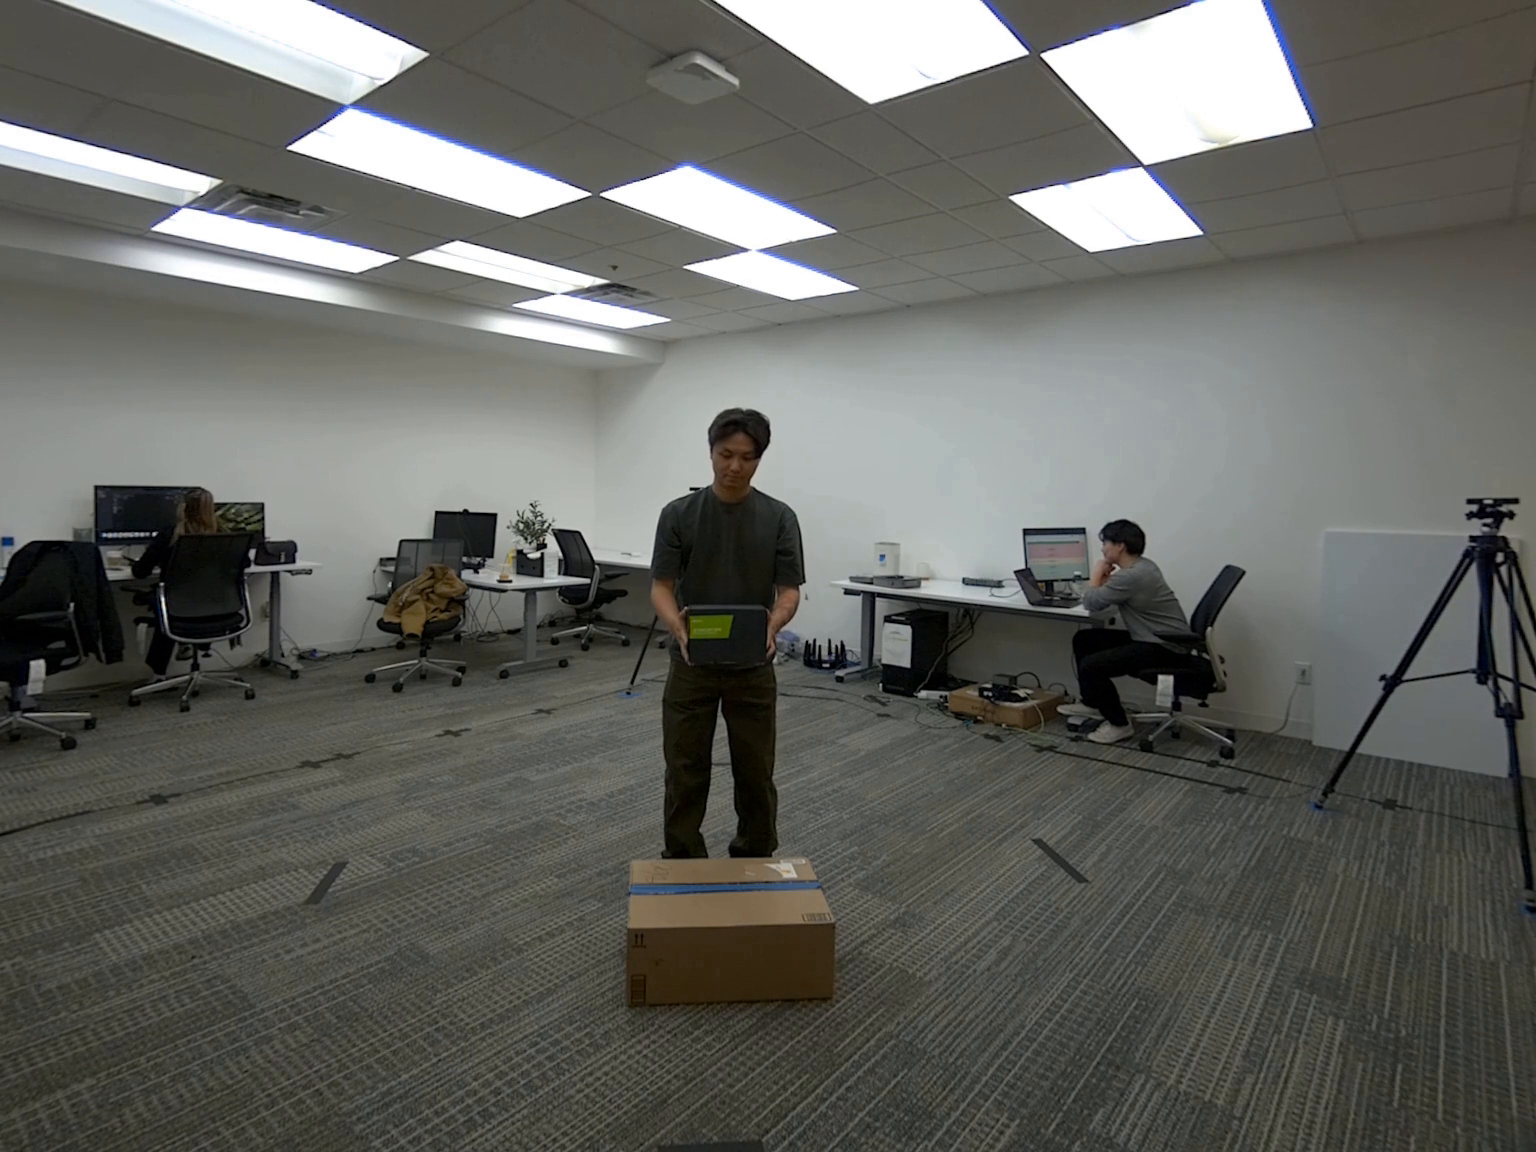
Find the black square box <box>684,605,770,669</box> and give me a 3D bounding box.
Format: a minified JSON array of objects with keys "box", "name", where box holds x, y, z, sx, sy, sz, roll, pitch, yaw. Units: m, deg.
[{"box":[-0.138,0.168,2.552,0.227,0.156,0.217,1,0,-3],"name":"black square box"}]
